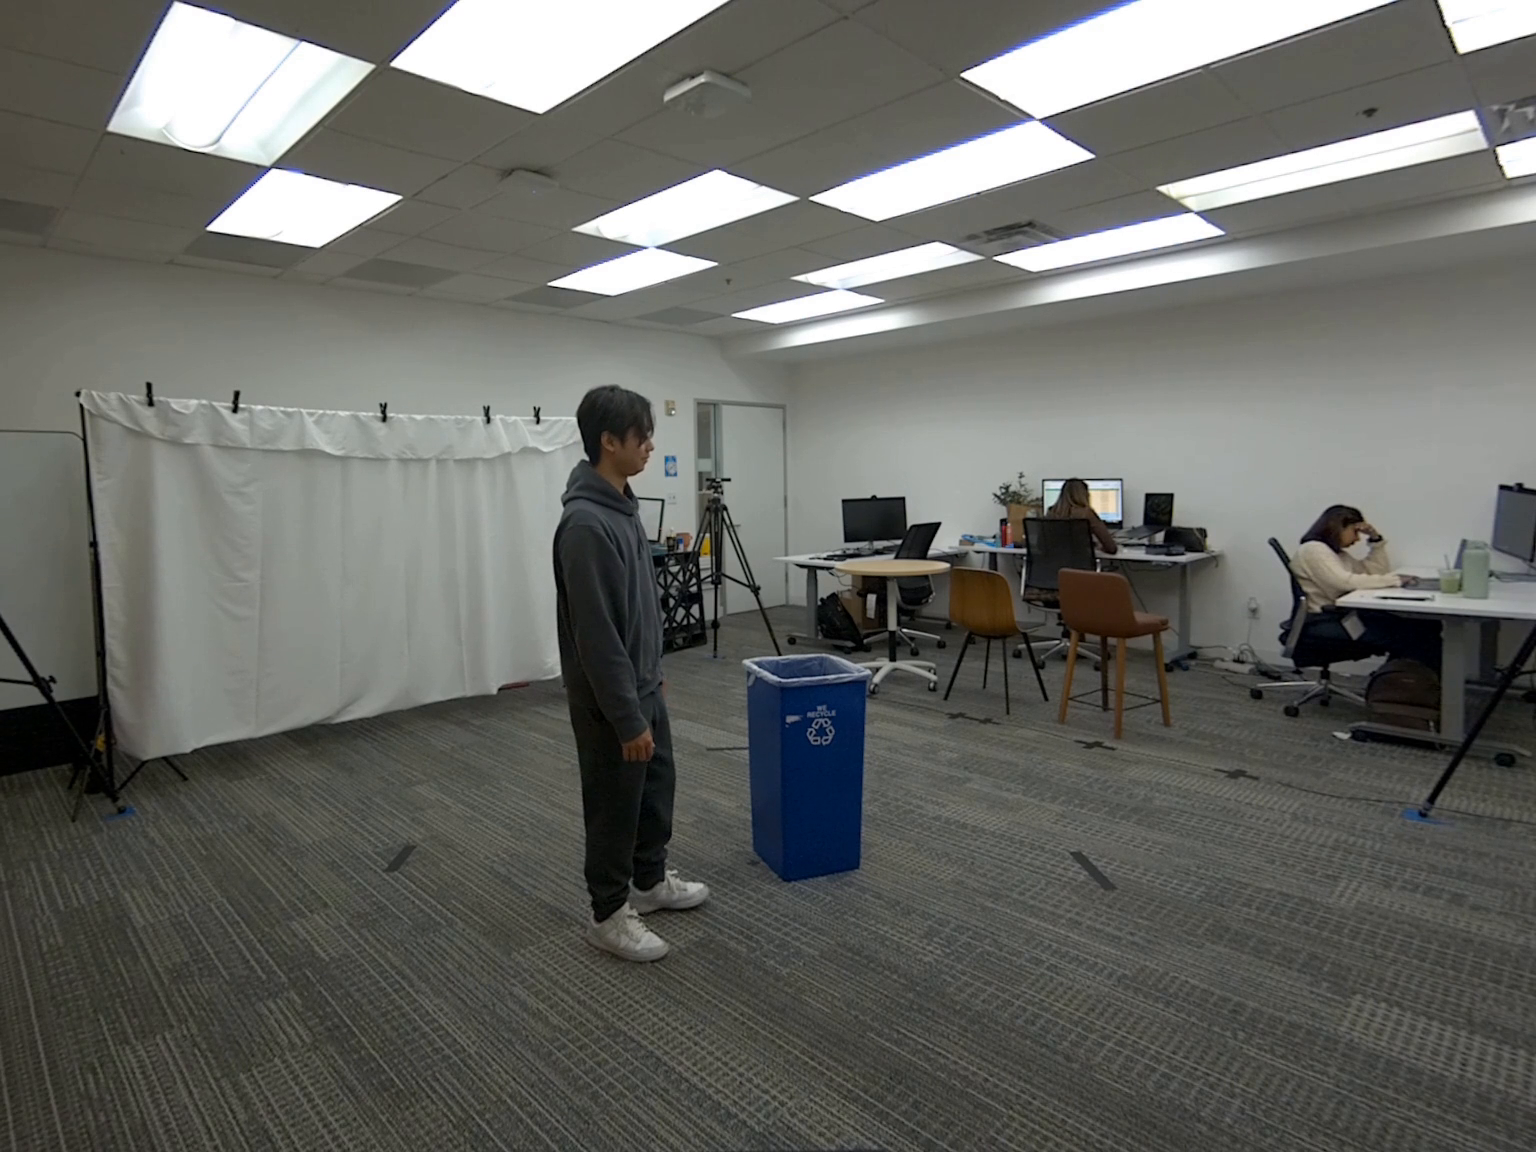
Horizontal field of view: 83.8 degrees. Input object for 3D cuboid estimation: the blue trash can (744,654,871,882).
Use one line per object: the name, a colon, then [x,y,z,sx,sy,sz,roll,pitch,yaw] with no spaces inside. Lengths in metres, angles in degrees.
blue trash can: [0.139,0.679,3.120,0.367,0.711,0.387,-3,5,-22]
